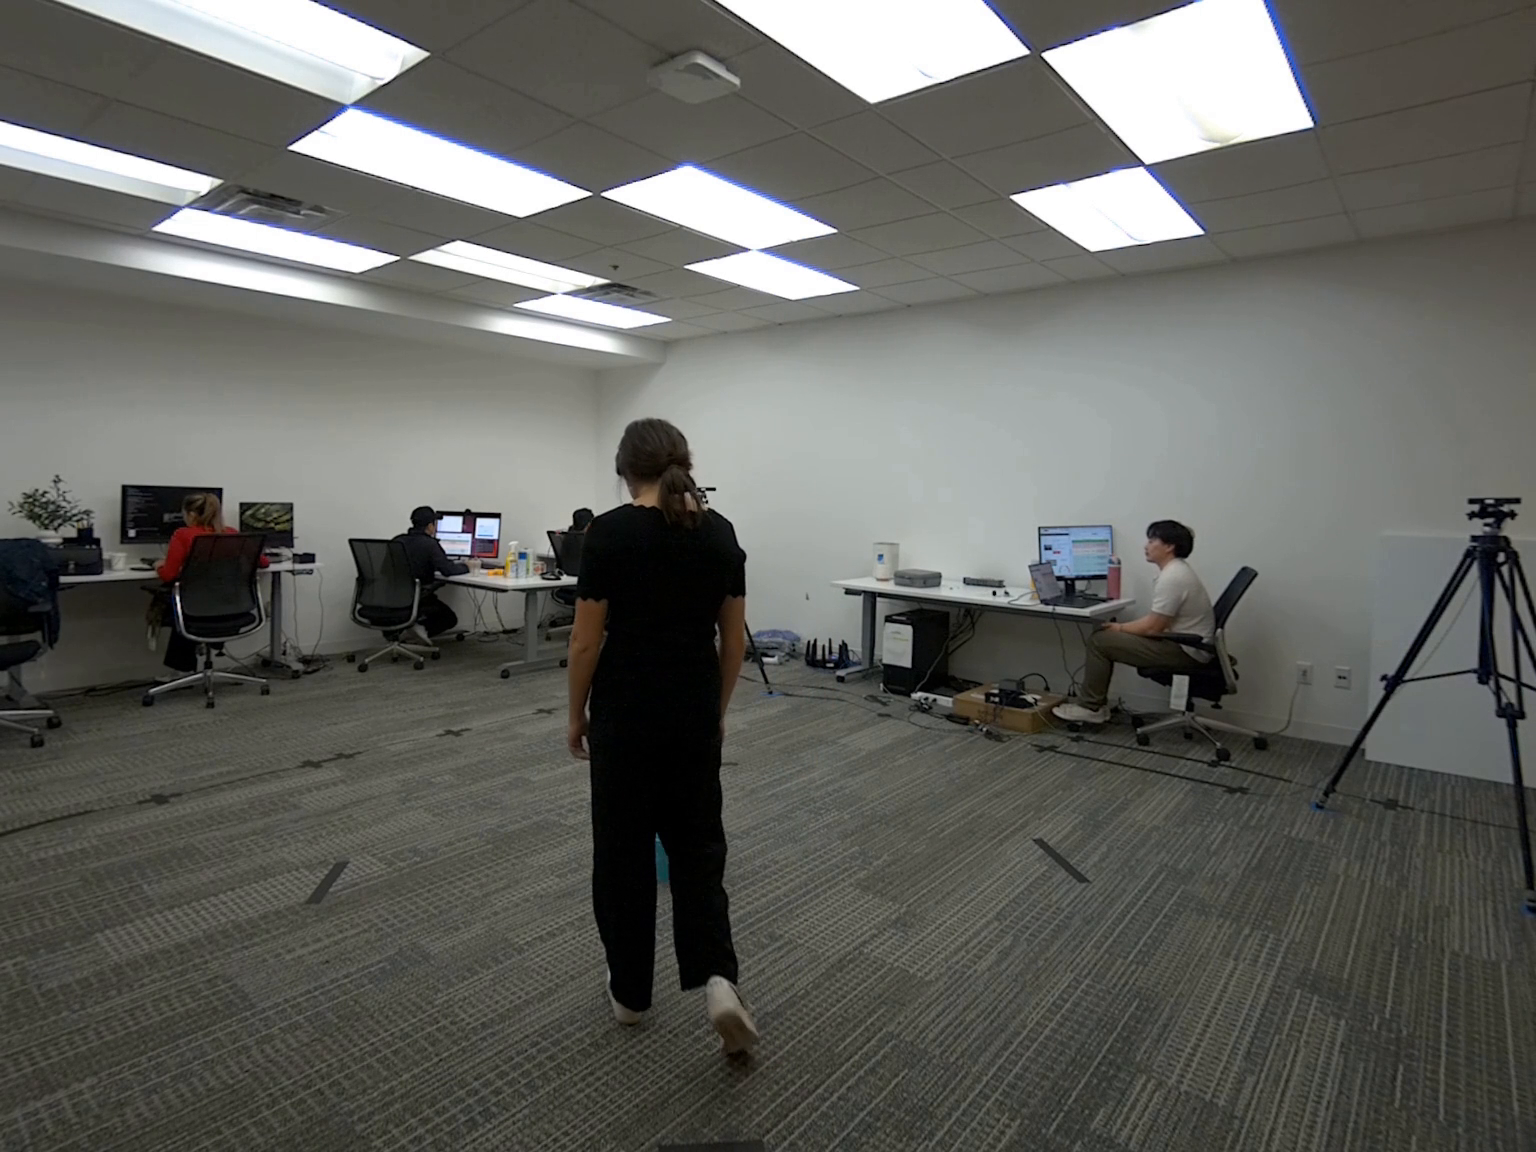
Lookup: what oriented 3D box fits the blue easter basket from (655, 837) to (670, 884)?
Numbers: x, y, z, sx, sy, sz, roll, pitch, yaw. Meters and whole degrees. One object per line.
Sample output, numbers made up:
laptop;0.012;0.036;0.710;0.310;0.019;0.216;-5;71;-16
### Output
blue easter basket;-0.348;0.981;3.086;0.243;0.155;0.244;0;3;-2
